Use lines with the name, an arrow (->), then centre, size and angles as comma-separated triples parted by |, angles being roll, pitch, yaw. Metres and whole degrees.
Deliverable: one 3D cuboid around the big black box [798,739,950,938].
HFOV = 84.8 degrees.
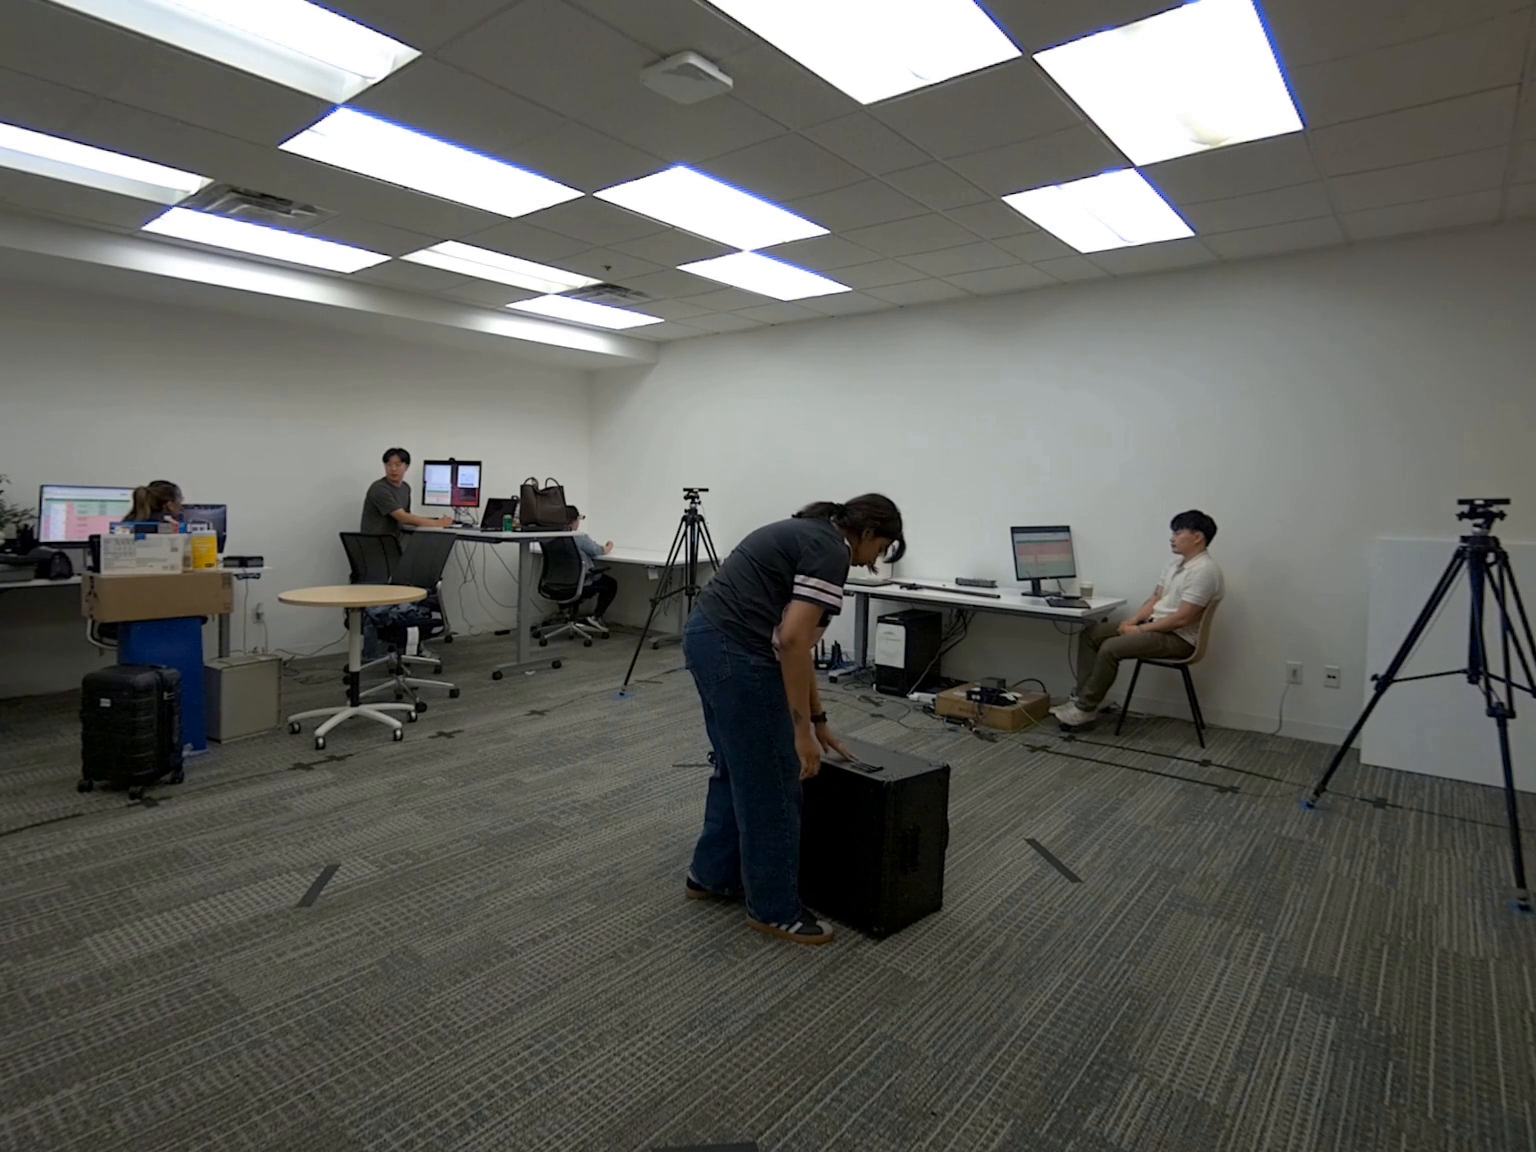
big black box -> 0.169, 0.827, 3.049 | 0.373, 0.522, 0.898 | -1, 5, -45
